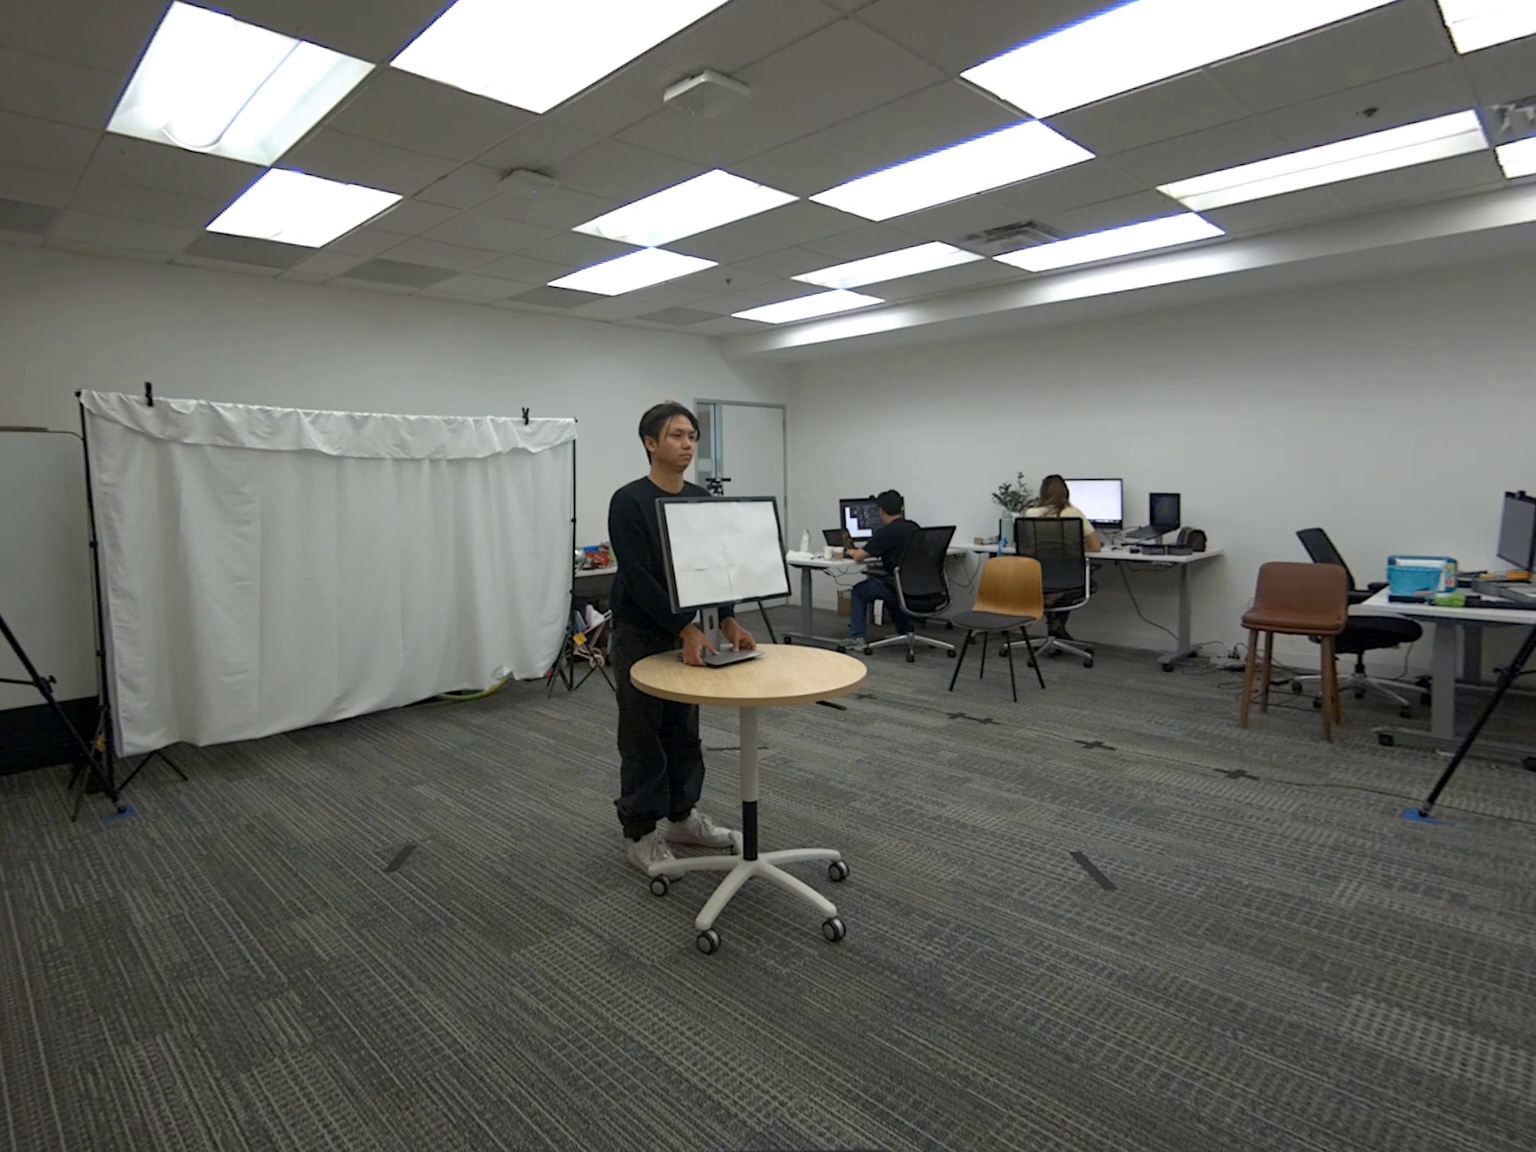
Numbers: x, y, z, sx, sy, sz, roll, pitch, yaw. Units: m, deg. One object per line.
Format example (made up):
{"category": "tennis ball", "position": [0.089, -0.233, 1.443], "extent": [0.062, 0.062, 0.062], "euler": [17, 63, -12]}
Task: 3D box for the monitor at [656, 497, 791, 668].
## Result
{"category": "monitor", "position": [-0.163, 0.005, 2.888], "extent": [0.193, 0.521, 0.525], "euler": [3, 6, 42]}
